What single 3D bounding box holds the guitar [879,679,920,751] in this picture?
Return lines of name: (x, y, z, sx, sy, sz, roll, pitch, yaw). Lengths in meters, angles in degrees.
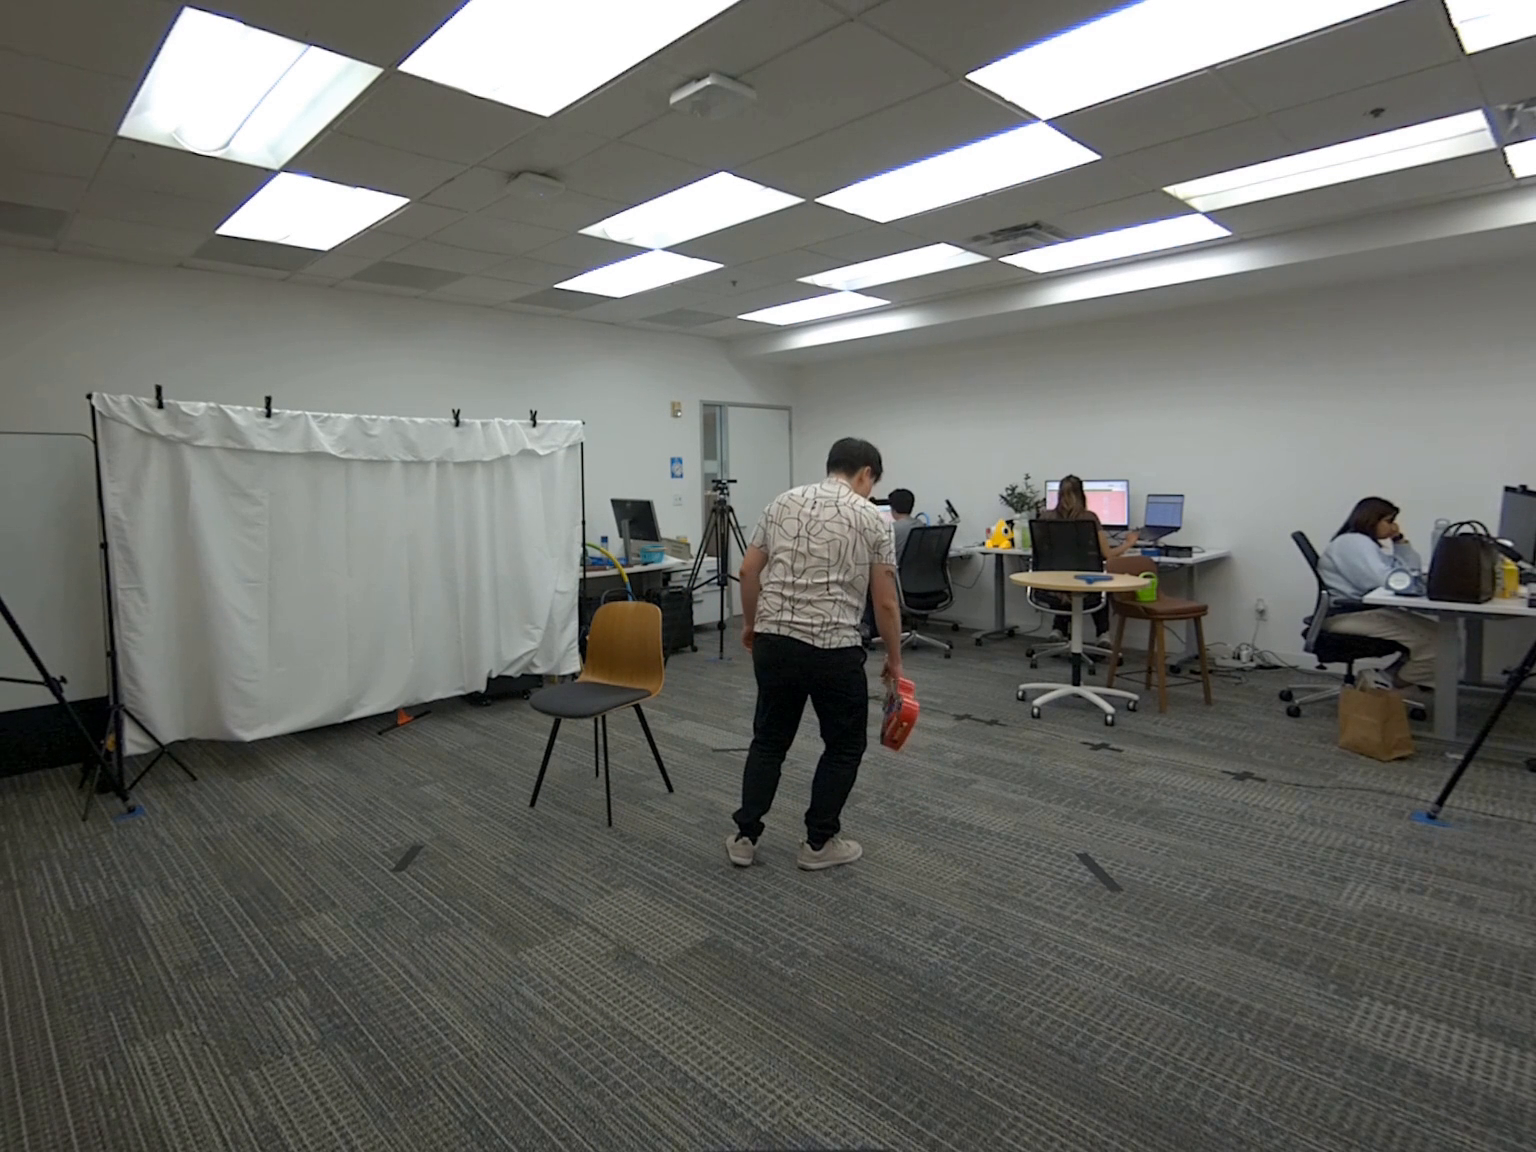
guitar: (0.471, 0.398, 3.074, 0.071, 0.190, 0.505, 18, 37, -1)
